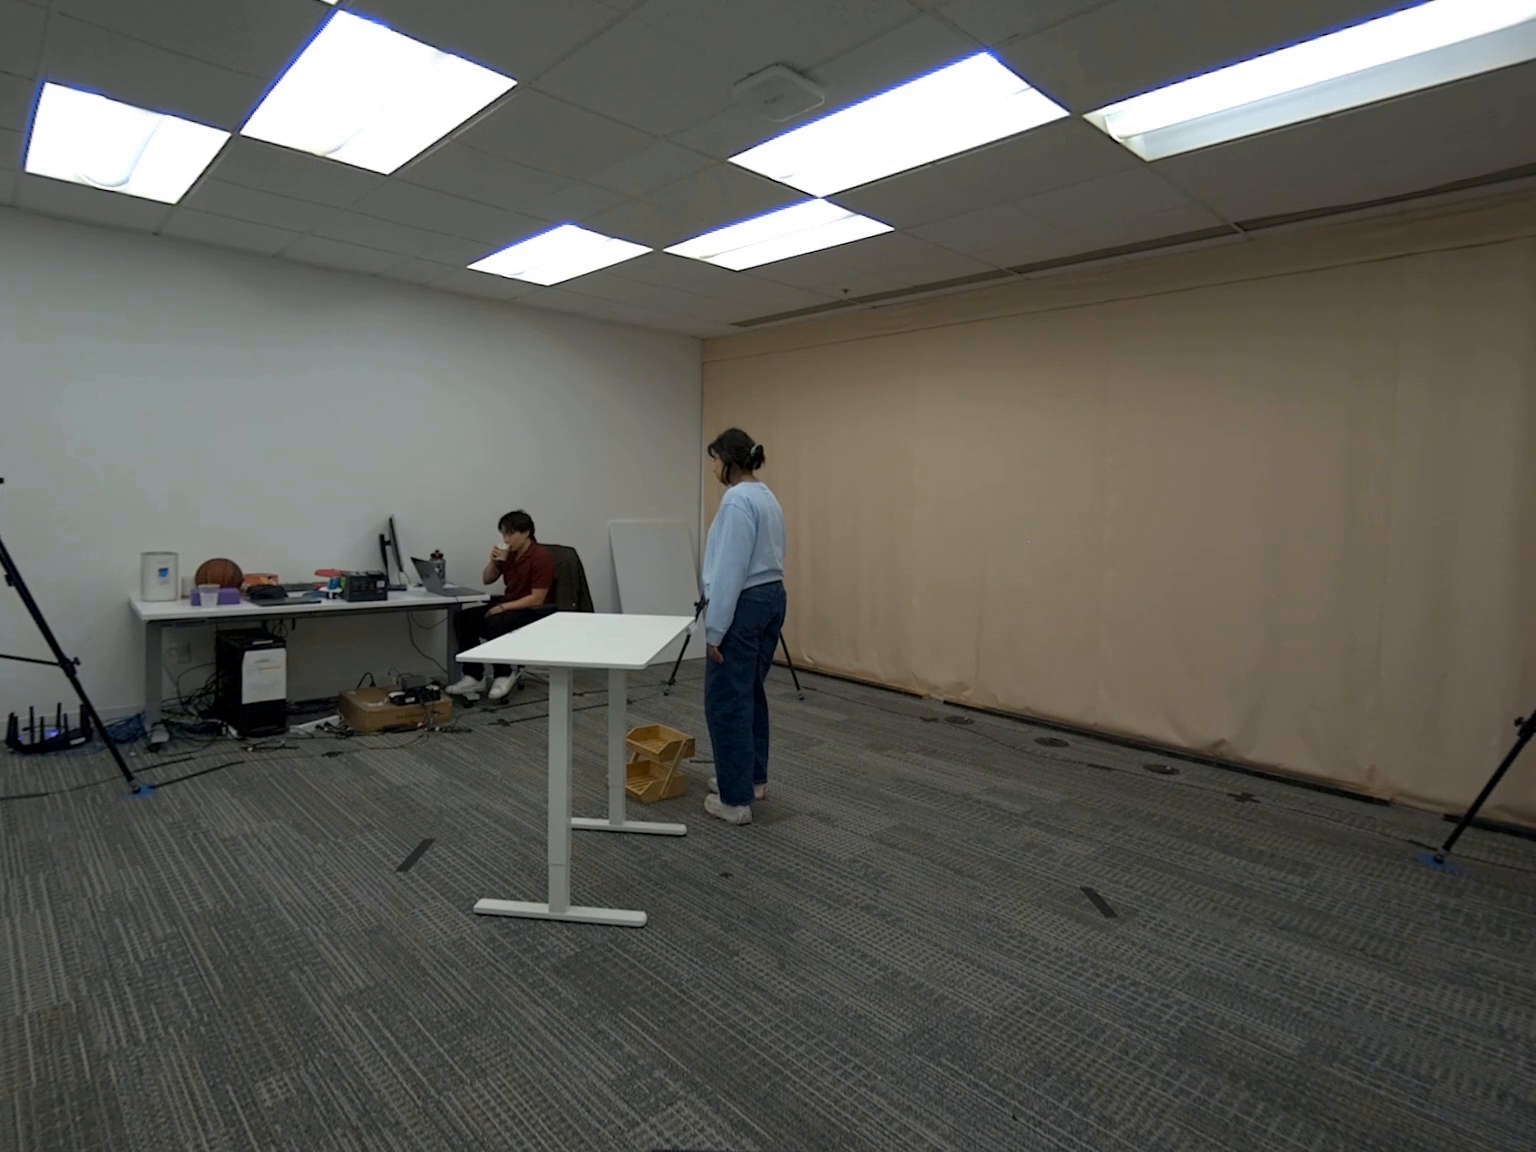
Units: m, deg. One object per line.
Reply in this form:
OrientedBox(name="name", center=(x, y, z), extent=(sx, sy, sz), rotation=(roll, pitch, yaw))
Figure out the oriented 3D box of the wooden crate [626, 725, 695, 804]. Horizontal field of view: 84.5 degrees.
OrientedBox(name="wooden crate", center=(-0.565, 0.873, 3.997), extent=(0.295, 0.273, 0.333), rotation=(-1, 5, -40))
